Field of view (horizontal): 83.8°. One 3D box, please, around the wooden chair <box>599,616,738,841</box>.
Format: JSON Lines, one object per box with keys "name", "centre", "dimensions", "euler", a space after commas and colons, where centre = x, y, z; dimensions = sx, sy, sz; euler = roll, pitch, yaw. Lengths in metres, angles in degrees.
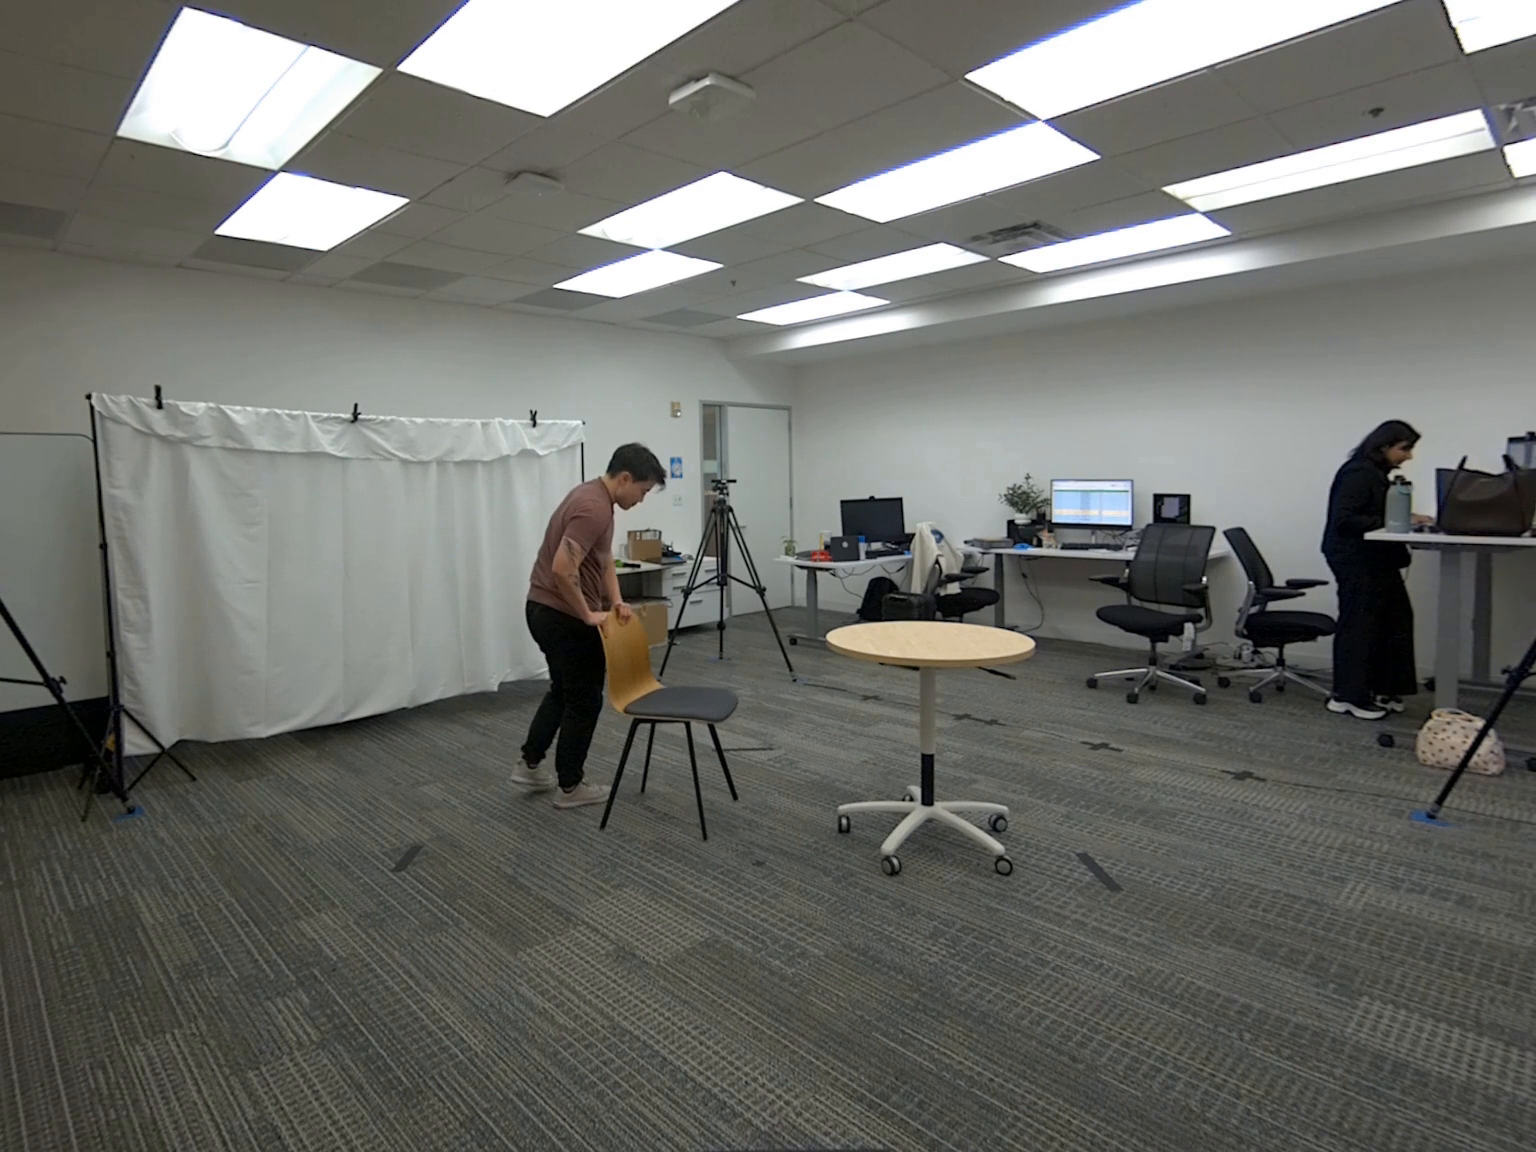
{"name": "wooden chair", "centre": [-0.399, 0.577, 3.551], "dimensions": [0.531, 0.876, 0.472], "euler": [-5, 2, 17]}
